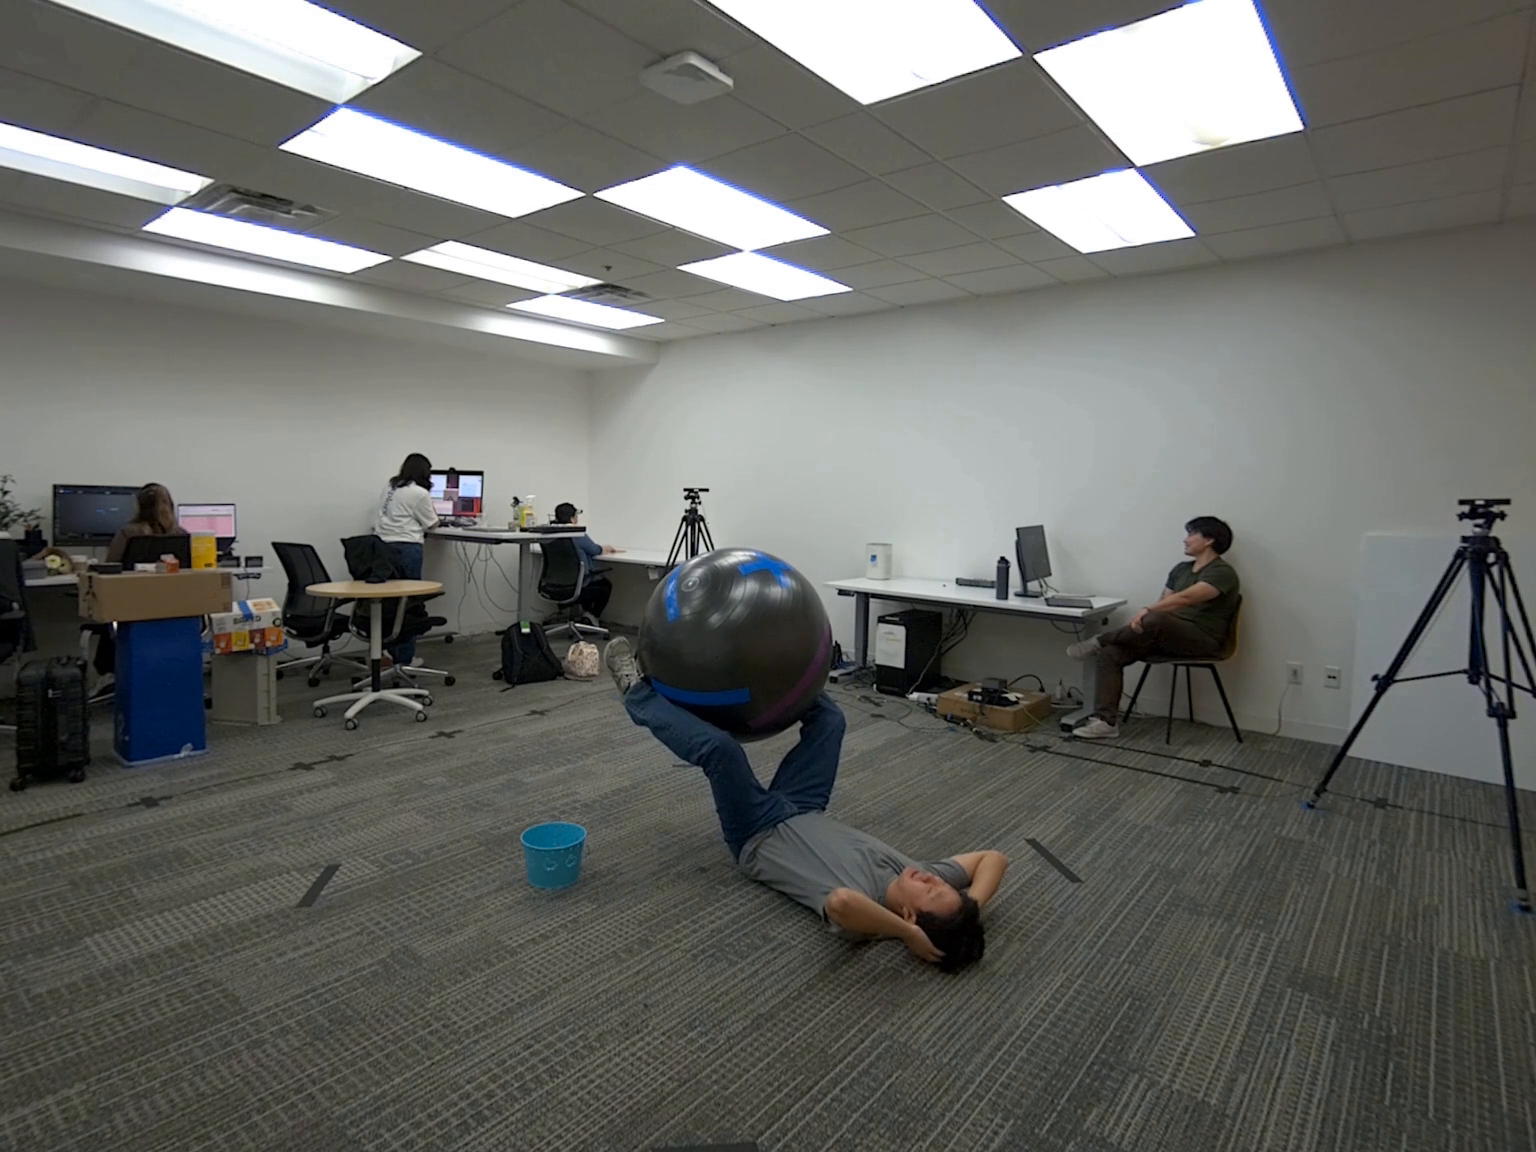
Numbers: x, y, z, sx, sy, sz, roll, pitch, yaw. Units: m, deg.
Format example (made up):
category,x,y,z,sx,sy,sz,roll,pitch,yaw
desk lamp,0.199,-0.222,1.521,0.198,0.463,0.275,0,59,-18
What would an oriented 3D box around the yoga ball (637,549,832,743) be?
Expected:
category,x,y,z,sx,sy,sz,roll,pitch,yaw
yoga ball,-0.135,0.267,3.318,0.757,0.756,0.761,1,4,-2
